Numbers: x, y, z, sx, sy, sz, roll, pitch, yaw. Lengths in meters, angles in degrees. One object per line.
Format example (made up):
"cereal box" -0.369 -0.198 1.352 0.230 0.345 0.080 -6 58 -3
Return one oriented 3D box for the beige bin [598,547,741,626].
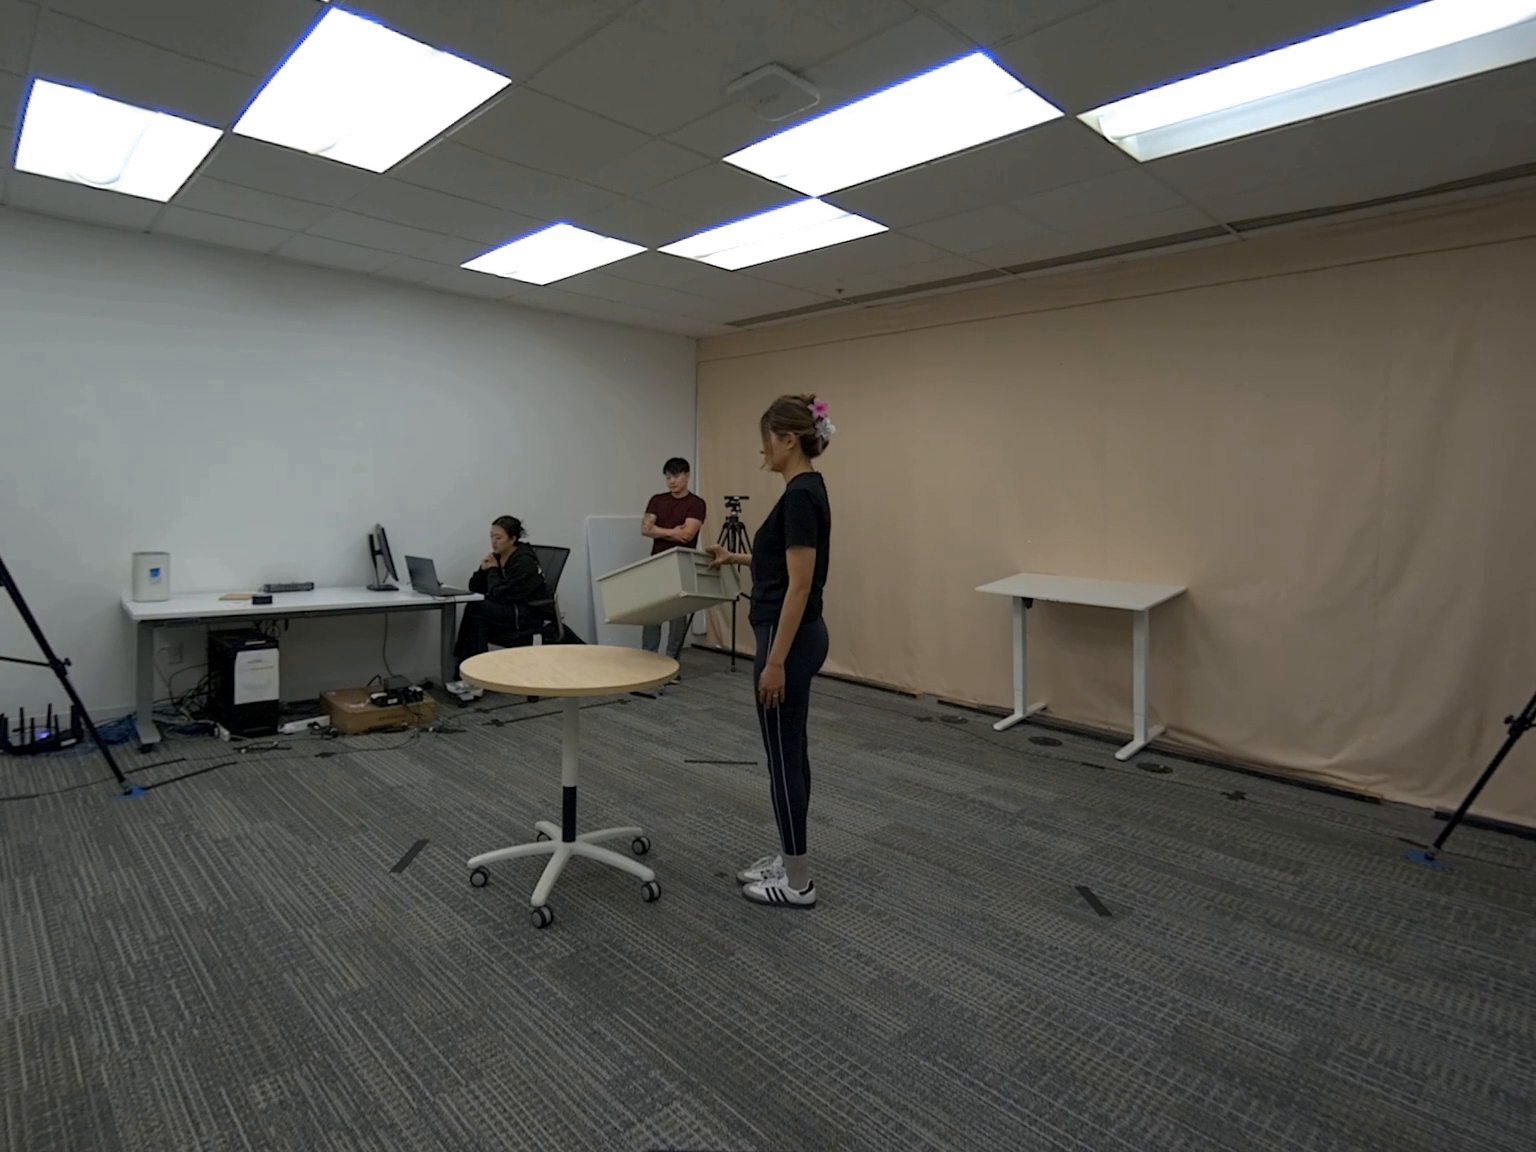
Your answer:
"beige bin" -0.378 0.056 3.245 0.428 0.191 0.368 -18 -14 31
